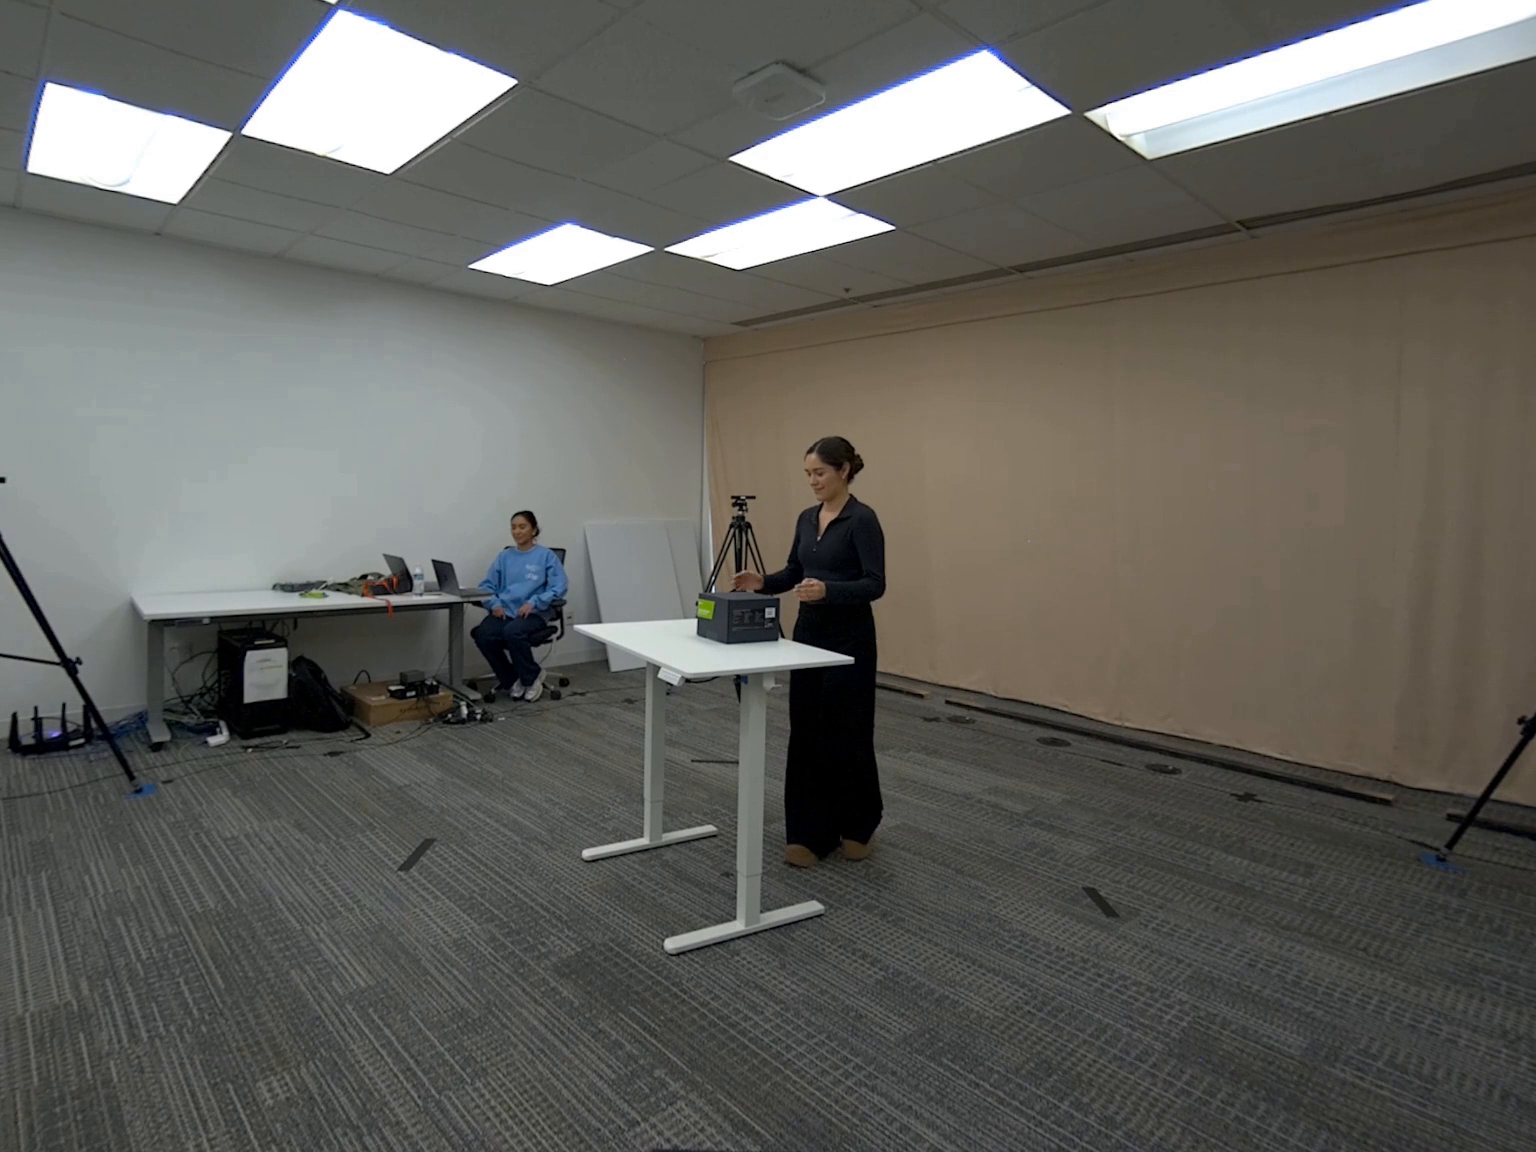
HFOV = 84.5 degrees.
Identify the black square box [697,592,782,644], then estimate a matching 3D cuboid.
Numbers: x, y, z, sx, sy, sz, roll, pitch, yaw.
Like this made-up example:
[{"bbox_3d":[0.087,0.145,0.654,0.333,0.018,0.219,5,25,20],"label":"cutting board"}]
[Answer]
[{"bbox_3d":[-0.117,0.148,3.049,0.212,0.155,0.233,-1,5,-31],"label":"black square box"}]
